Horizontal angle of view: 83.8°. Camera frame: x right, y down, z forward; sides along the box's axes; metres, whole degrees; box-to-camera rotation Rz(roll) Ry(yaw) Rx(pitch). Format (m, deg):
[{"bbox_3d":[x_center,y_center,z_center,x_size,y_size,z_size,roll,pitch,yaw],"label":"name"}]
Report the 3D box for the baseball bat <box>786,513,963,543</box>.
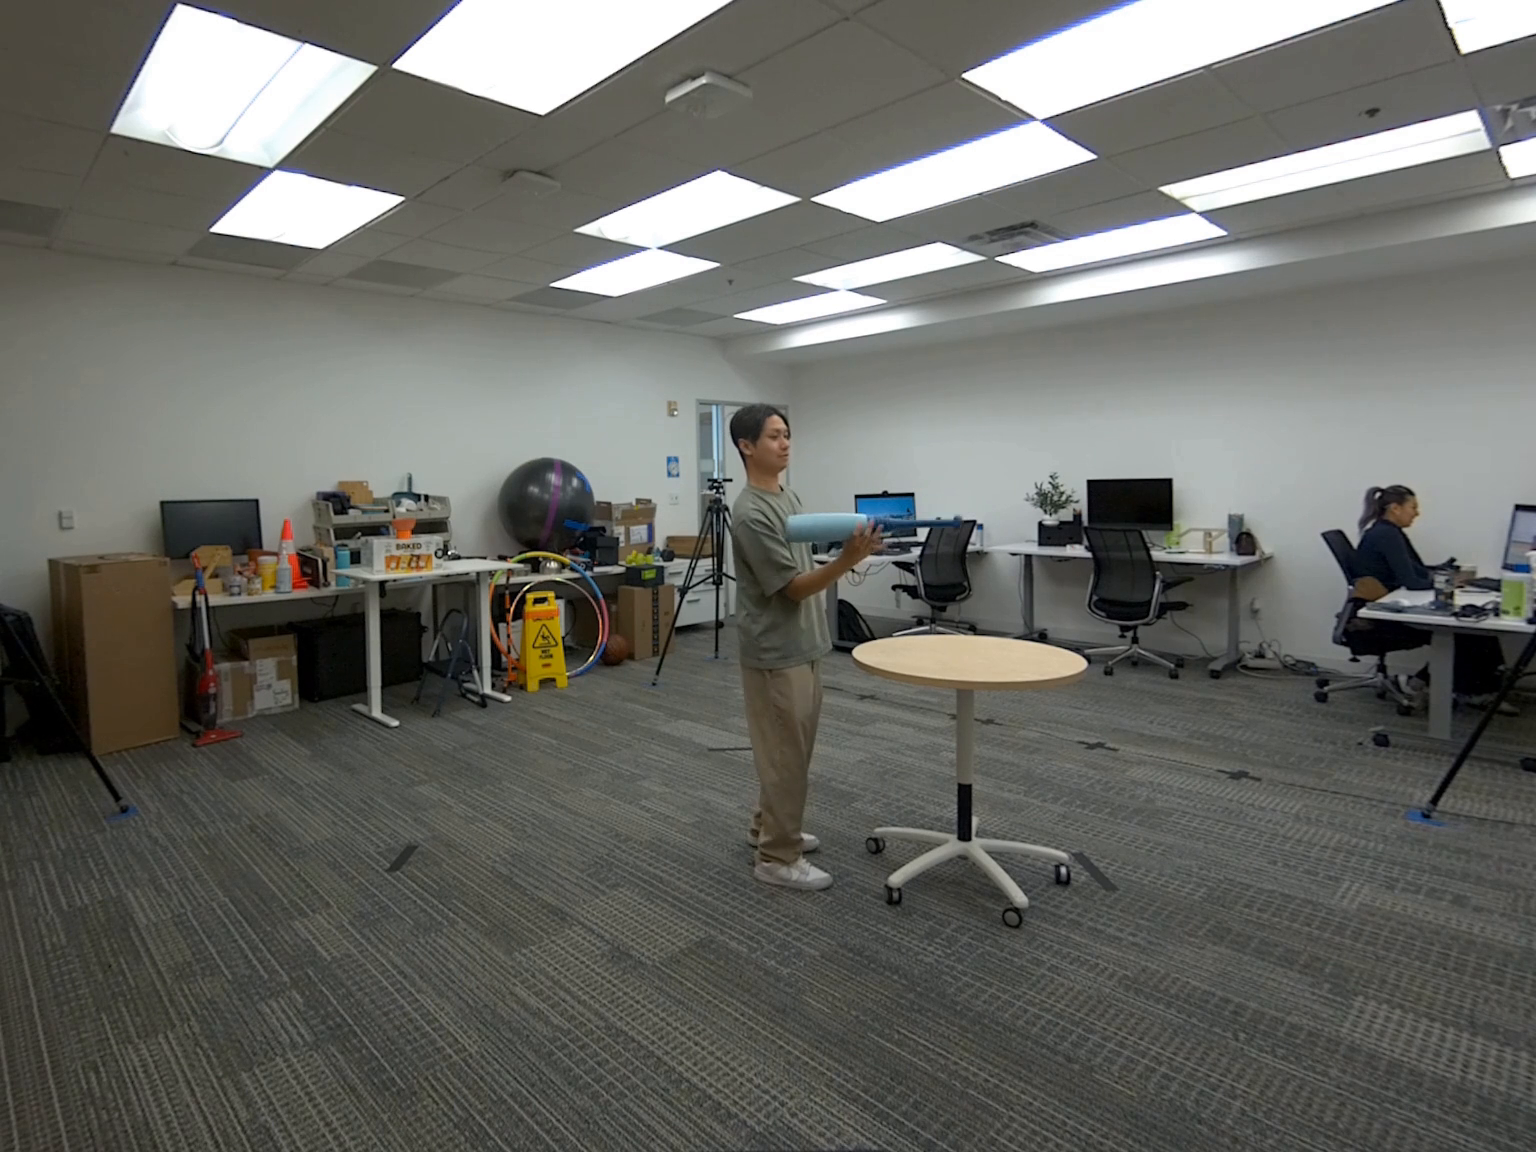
[{"bbox_3d":[0.343,-0.186,2.646,0.544,0.089,0.089,-2,5,3],"label":"baseball bat"}]
